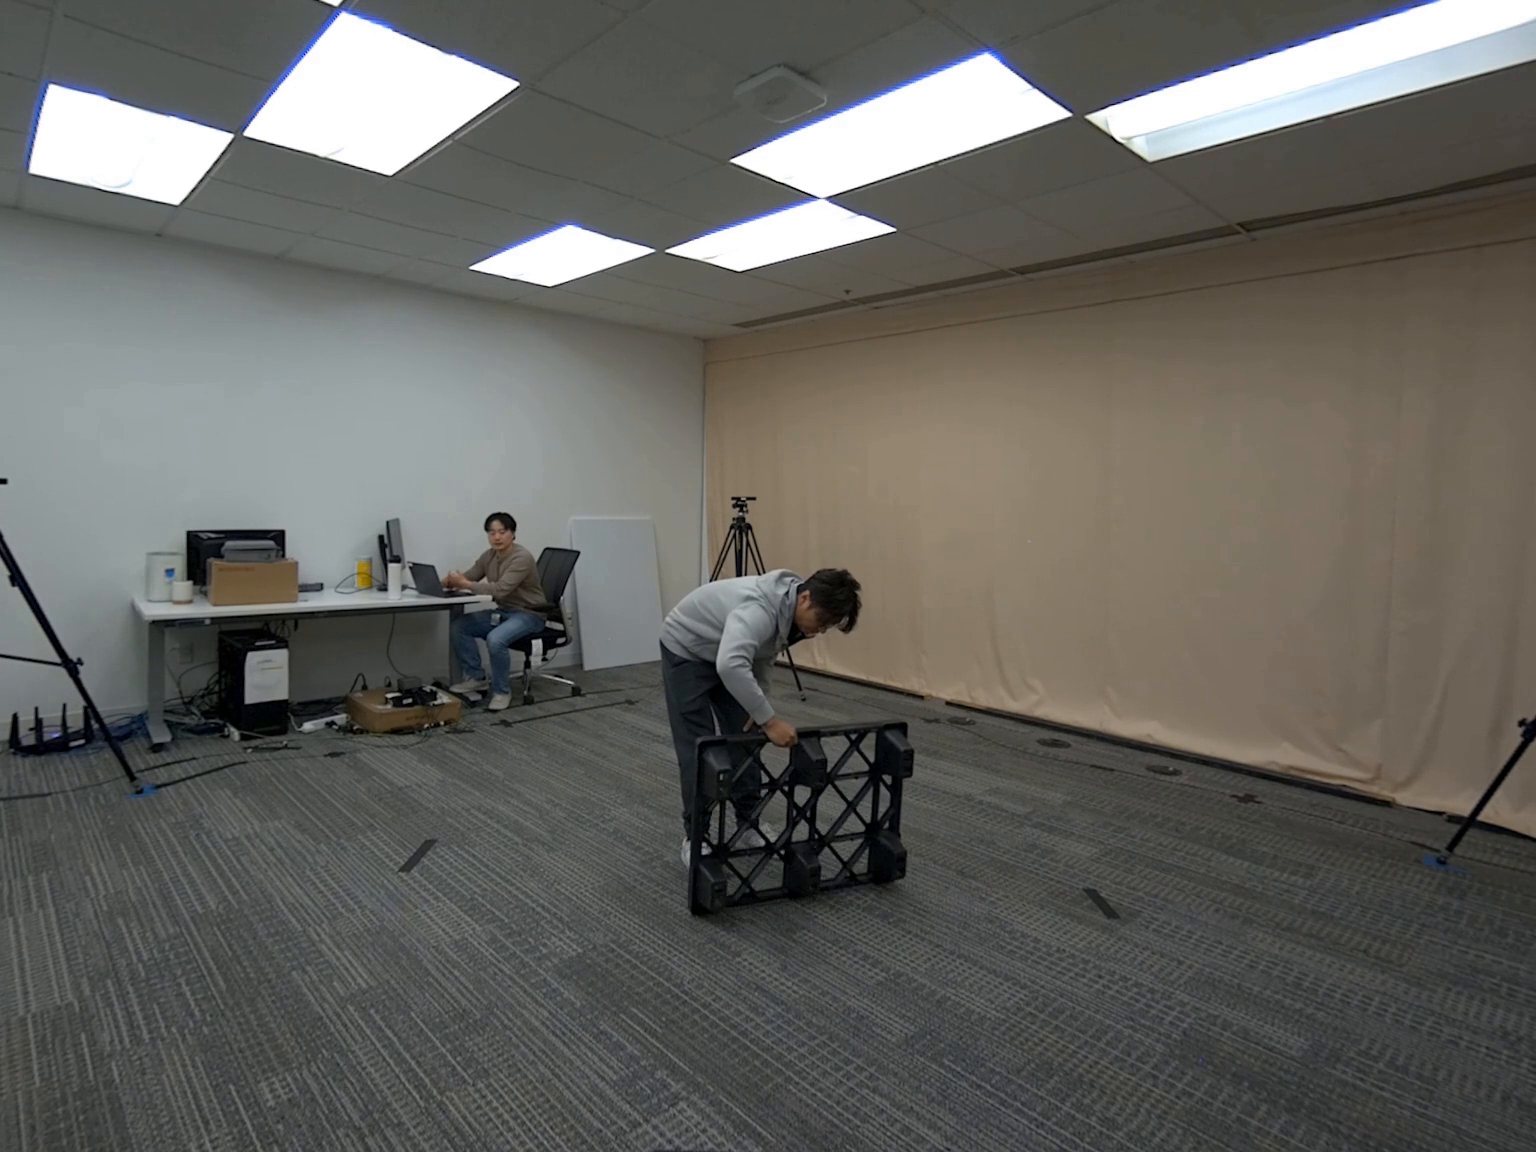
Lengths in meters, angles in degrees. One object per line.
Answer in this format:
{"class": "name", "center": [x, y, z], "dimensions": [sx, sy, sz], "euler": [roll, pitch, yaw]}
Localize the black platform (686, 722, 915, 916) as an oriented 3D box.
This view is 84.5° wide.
{"class": "black platform", "center": [0.131, 0.833, 2.854], "dimensions": [0.792, 0.602, 0.146], "euler": [-1, 7, -22]}
